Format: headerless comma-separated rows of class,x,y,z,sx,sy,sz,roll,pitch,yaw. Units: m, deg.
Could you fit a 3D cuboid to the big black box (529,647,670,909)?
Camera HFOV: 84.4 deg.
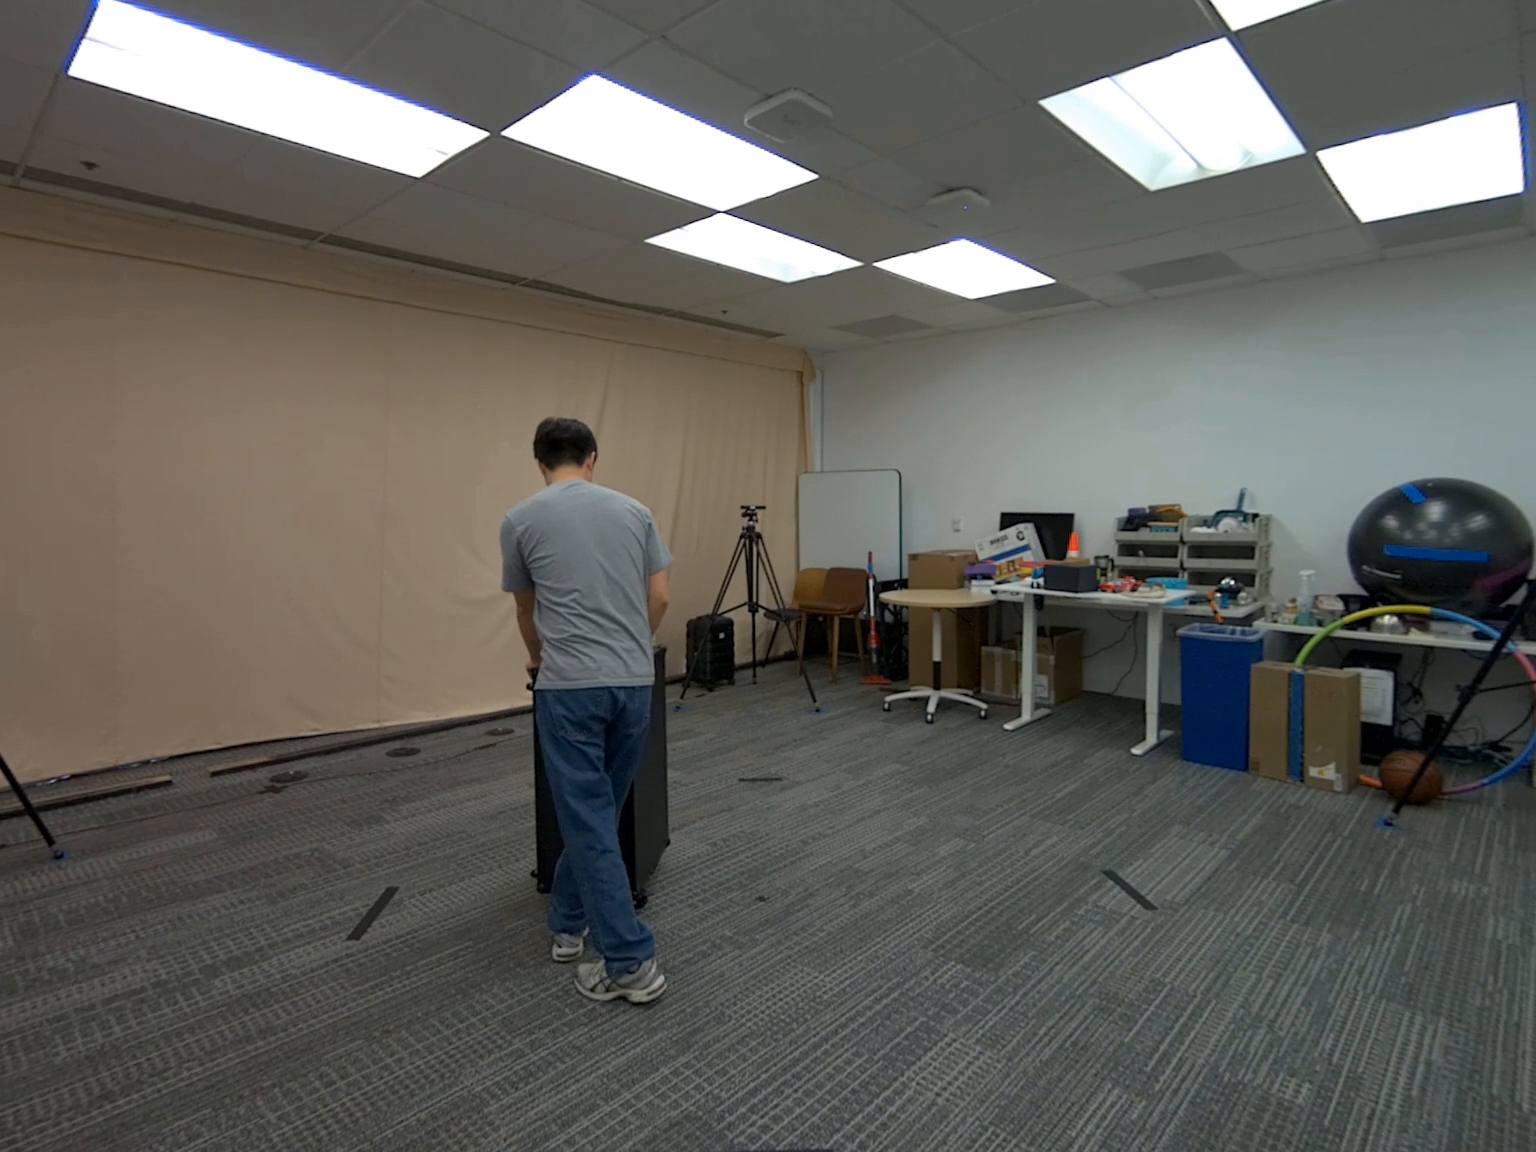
big black box,-0.603,0.715,3.070,0.400,0.859,0.517,0,4,8
